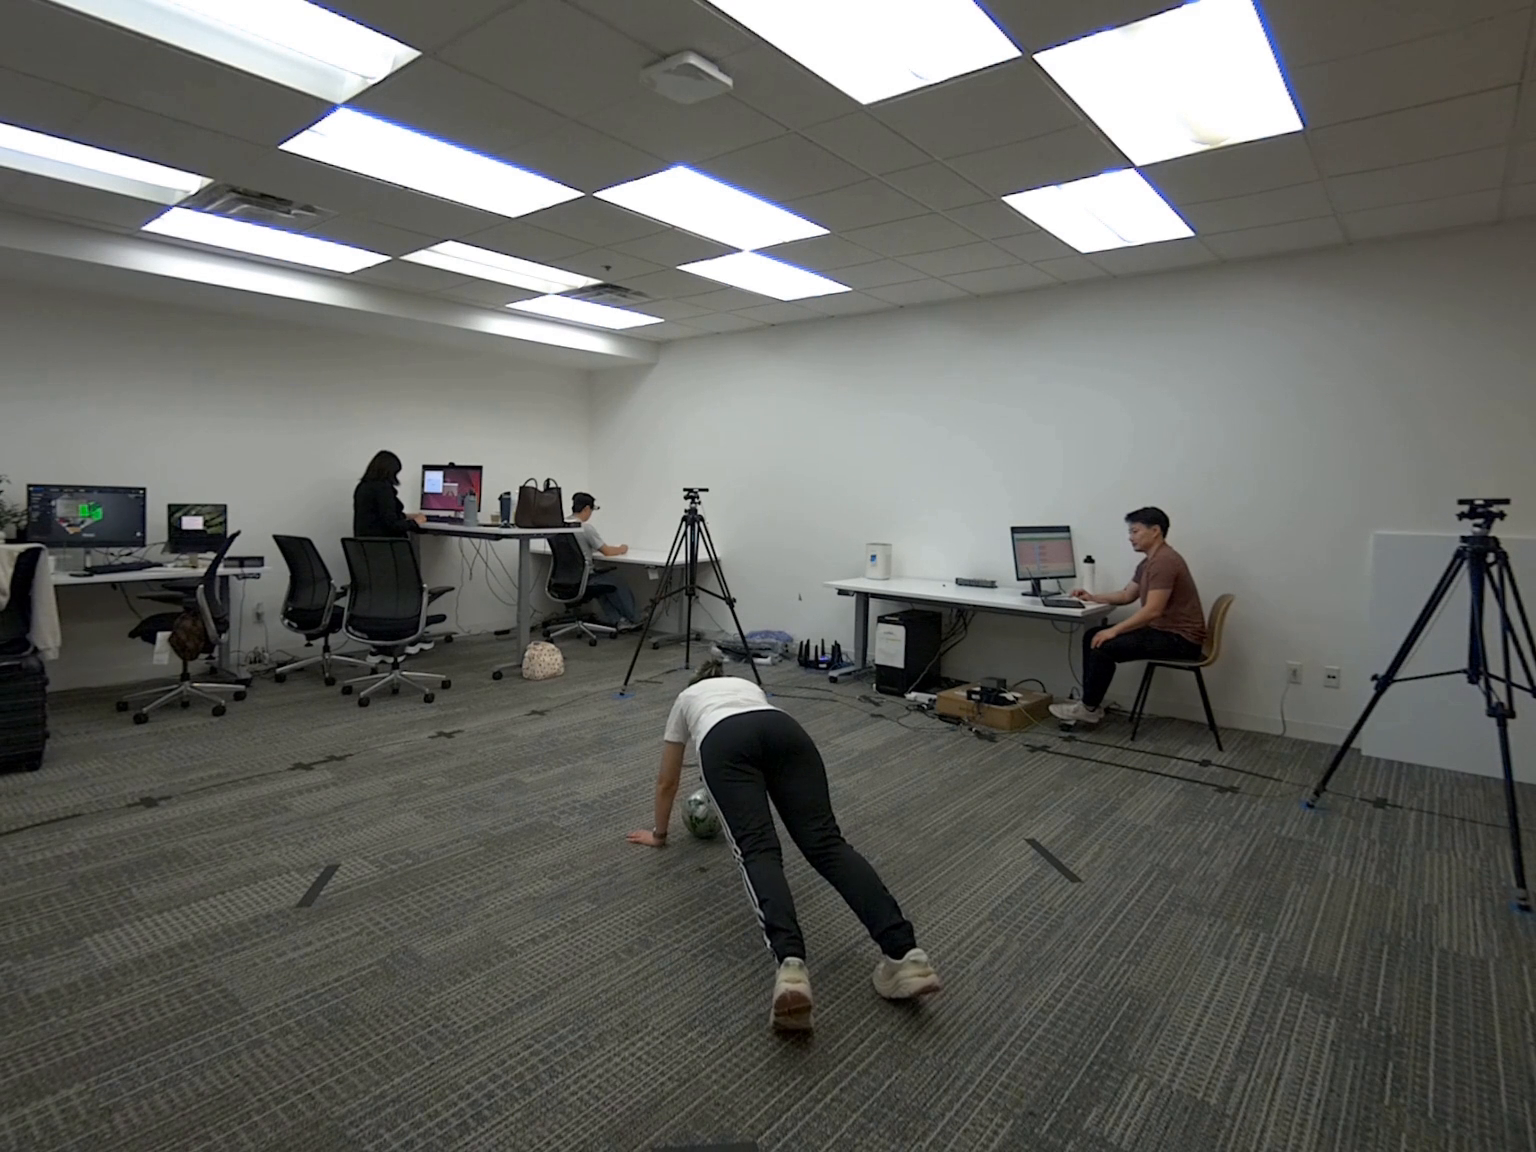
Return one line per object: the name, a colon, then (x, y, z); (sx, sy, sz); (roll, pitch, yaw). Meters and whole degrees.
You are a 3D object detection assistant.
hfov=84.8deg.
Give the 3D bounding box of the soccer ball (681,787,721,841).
soccer ball: (-0.262, 0.945, 3.410); (0.187, 0.187, 0.188); (1, 4, -2)
